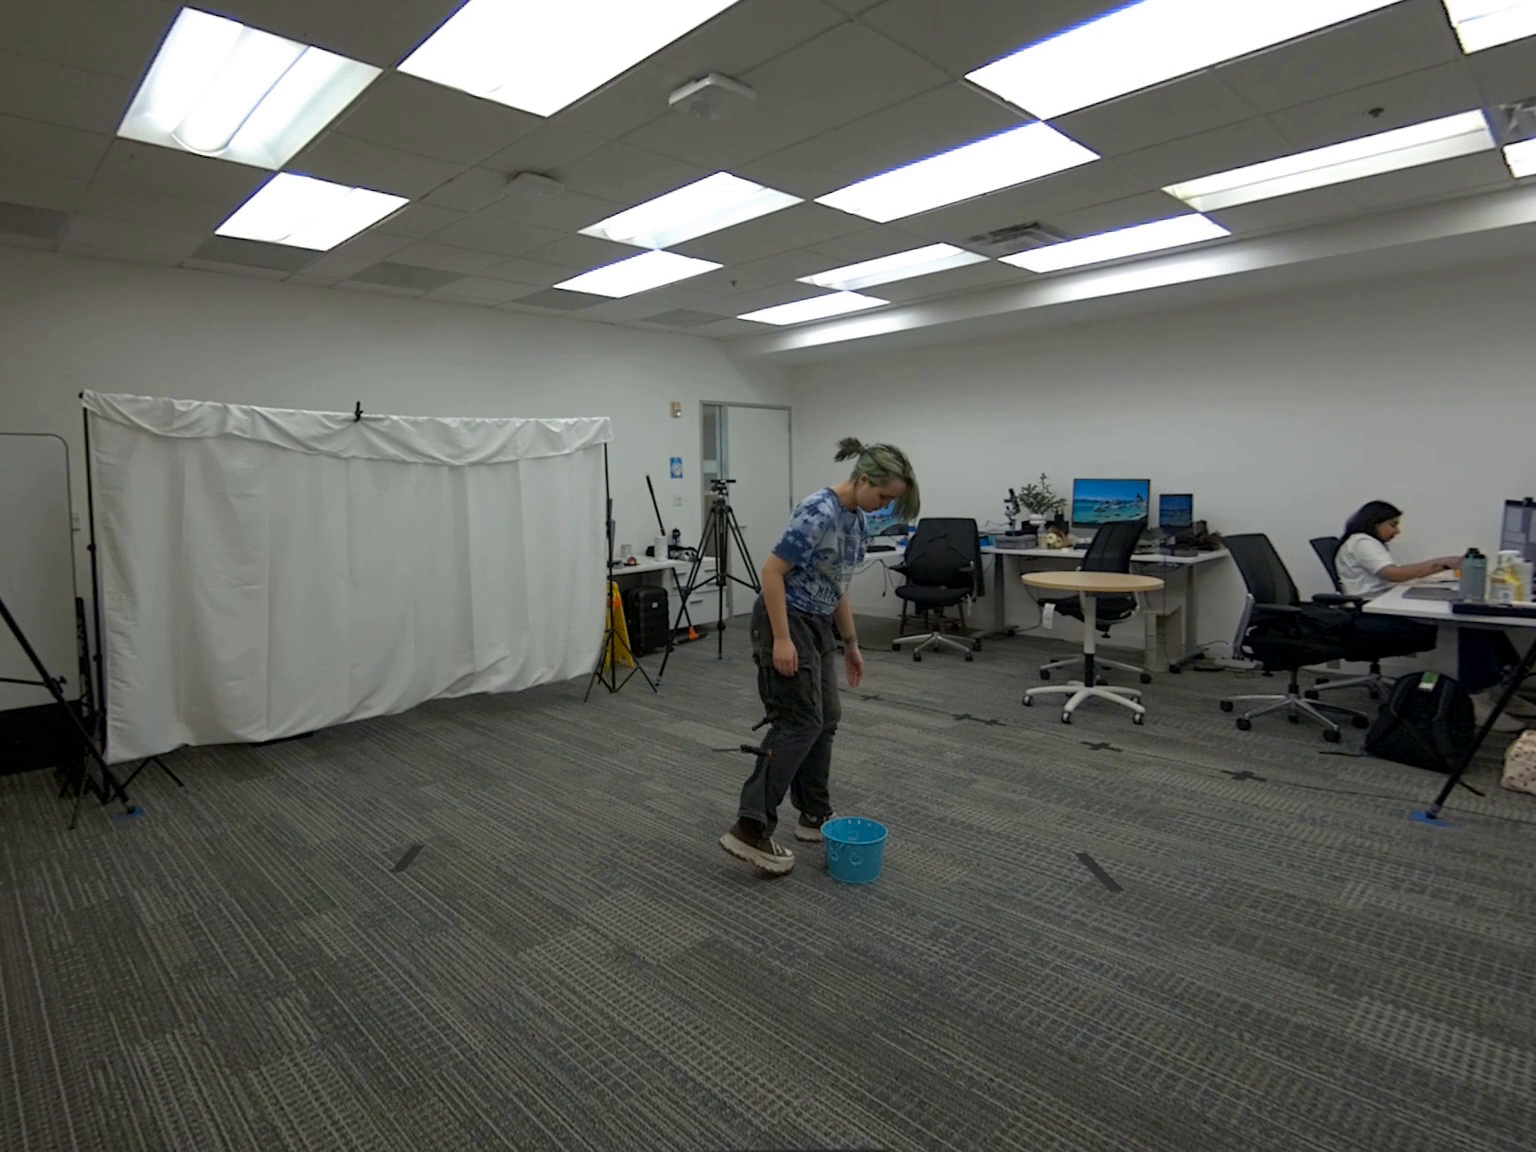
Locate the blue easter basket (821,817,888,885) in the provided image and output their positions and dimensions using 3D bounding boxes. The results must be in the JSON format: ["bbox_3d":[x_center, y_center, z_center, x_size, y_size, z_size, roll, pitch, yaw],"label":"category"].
[{"bbox_3d":[0.307,0.971,3.033,0.243,0.155,0.245,-1,6,-2],"label":"blue easter basket"}]
